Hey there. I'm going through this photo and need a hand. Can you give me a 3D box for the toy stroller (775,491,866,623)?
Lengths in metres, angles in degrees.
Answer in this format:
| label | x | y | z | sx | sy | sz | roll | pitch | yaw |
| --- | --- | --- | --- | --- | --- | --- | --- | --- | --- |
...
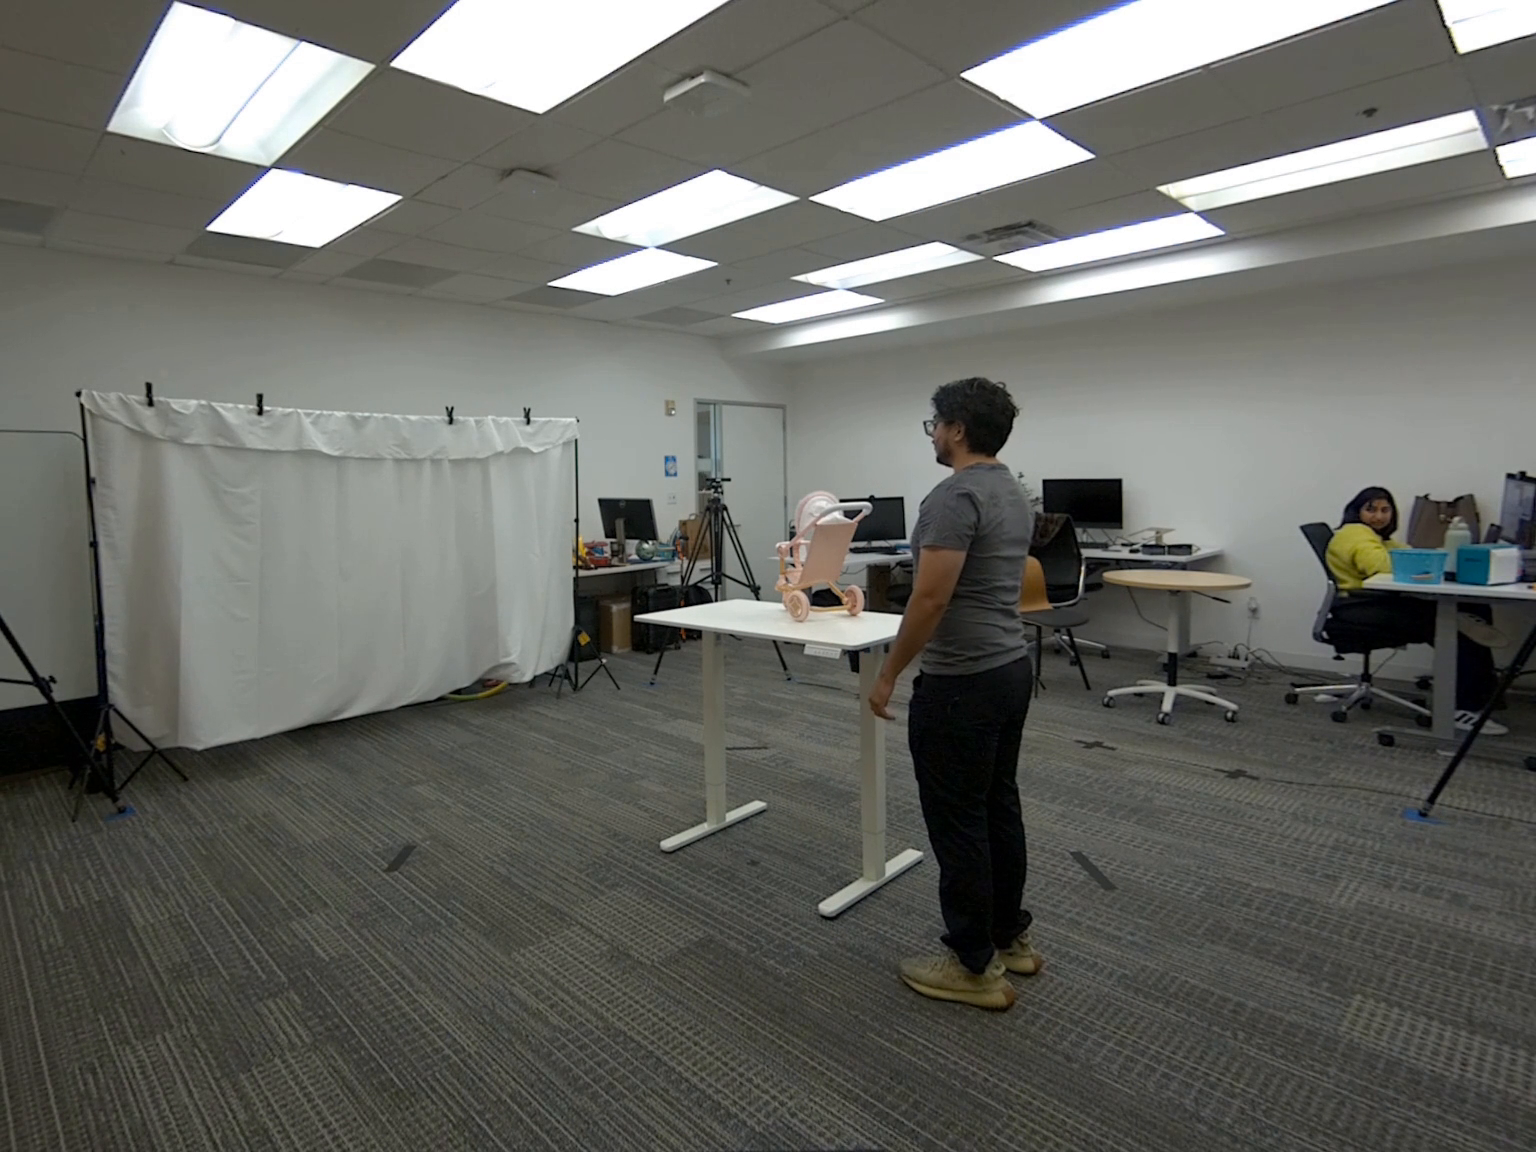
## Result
| label | x | y | z | sx | sy | sz | roll | pitch | yaw |
| --- | --- | --- | --- | --- | --- | --- | --- | --- | --- |
| toy stroller | 0.180 | -0.071 | 3.144 | 0.275 | 0.527 | 0.354 | -3 | 22 | -26 |
